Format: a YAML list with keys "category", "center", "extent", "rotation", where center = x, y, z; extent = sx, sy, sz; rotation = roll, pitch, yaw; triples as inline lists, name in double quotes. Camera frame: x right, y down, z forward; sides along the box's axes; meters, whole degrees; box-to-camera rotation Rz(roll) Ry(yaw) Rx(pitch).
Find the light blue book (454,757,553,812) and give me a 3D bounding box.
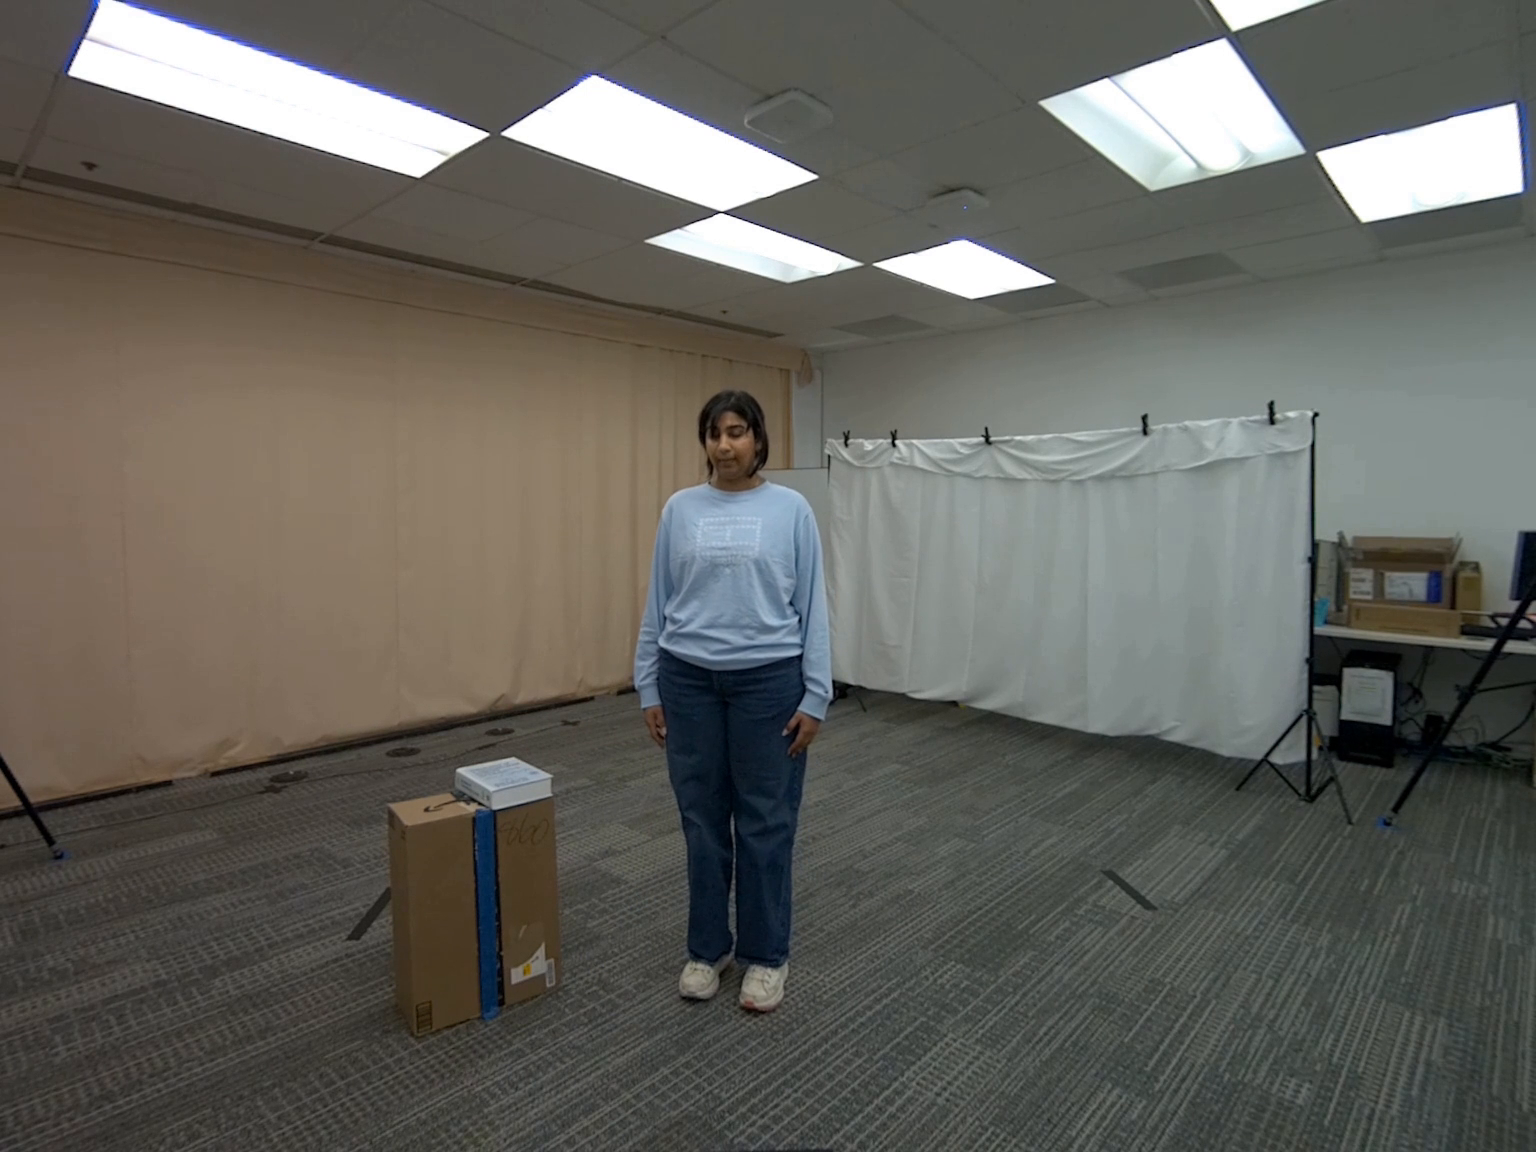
- category: "light blue book"
  center: [-0.768, 0.599, 2.461]
  extent: [0.185, 0.059, 0.269]
  rotation: [-4, 5, -40]
